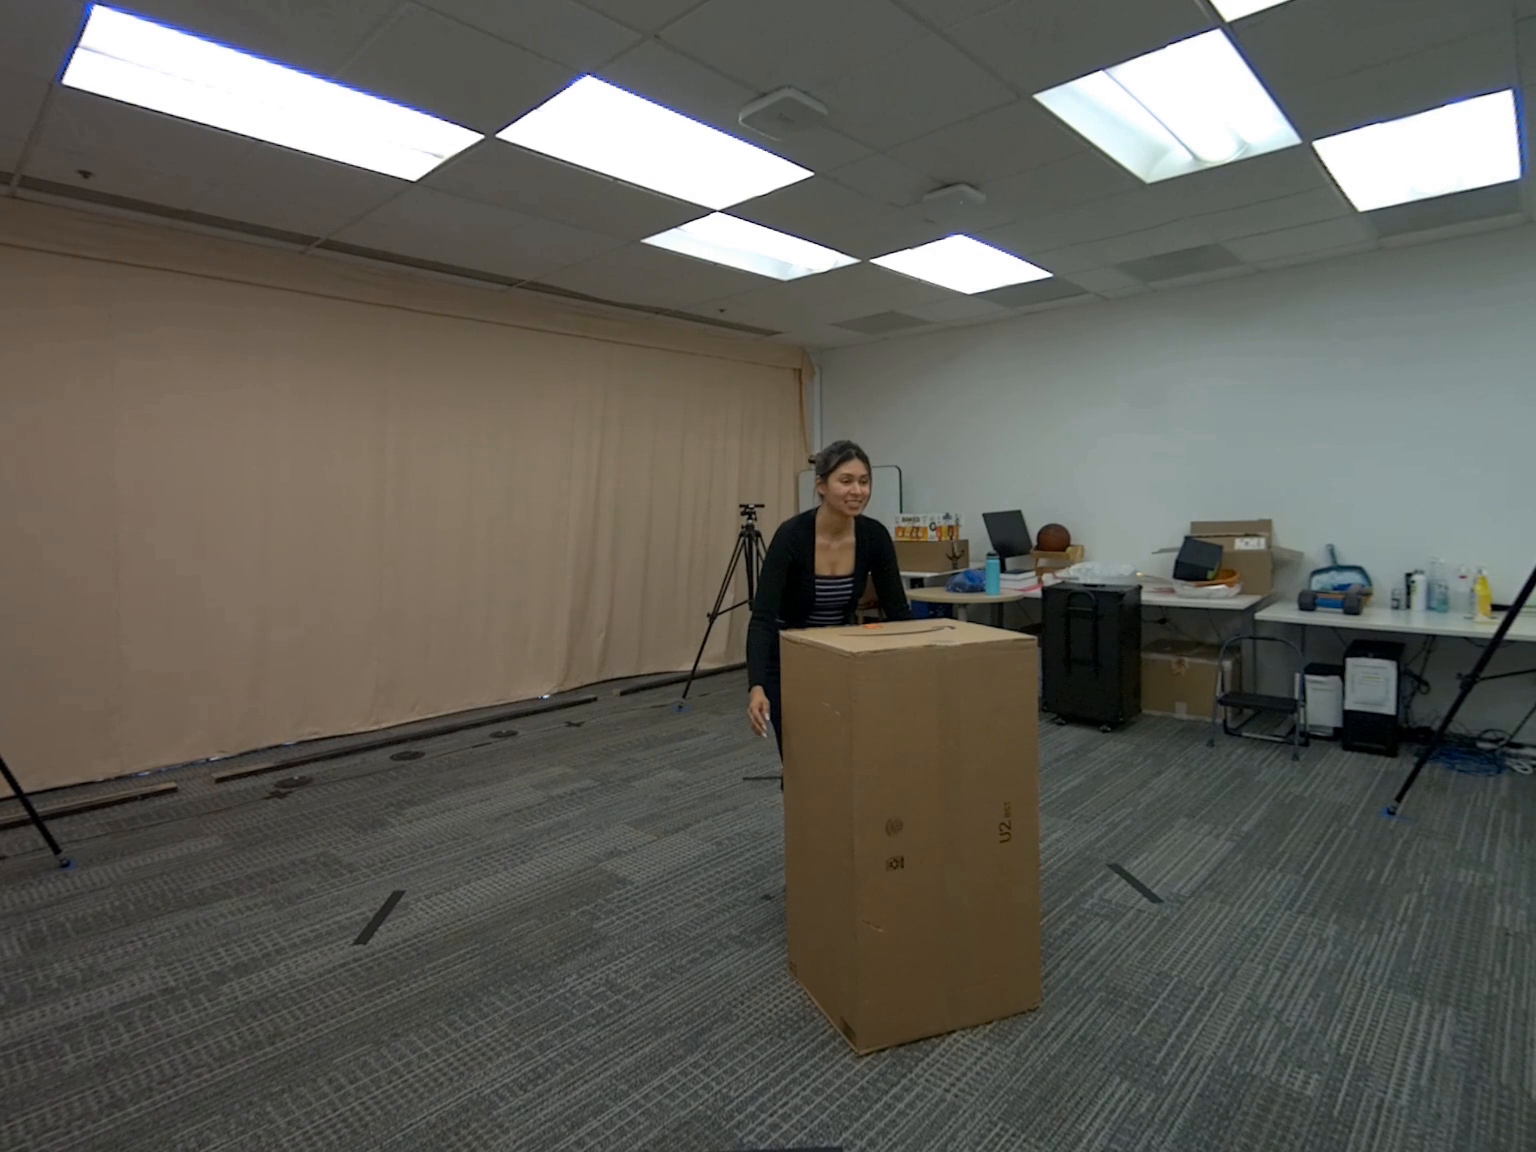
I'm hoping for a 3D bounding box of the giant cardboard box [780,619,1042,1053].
[{"bbox_3d":[0.399,0.675,2.381,0.566,1.023,0.436,-3,4,-21],"label":"giant cardboard box"}]
